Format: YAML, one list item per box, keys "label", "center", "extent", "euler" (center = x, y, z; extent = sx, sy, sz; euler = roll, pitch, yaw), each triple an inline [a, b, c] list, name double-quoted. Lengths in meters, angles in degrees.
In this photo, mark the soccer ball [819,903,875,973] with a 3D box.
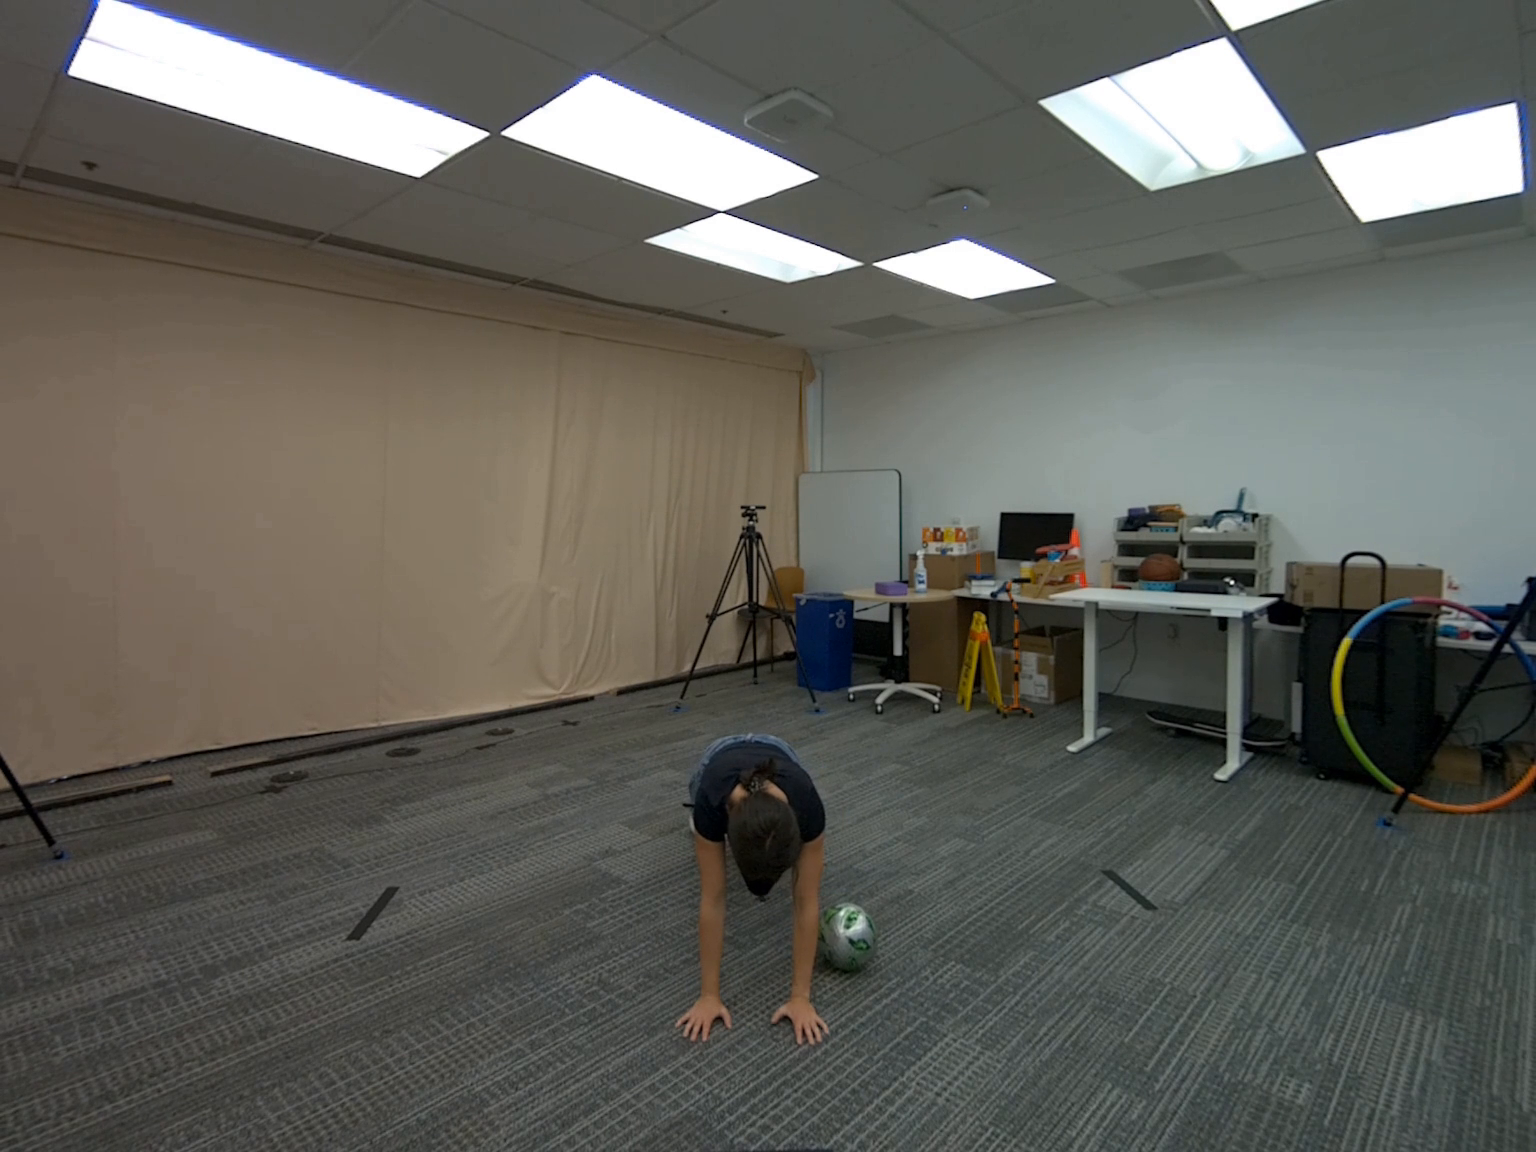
- label: "soccer ball"
  center: [0.252, 1.086, 2.536]
  extent: [0.187, 0.187, 0.188]
  euler: [0, 4, -2]
